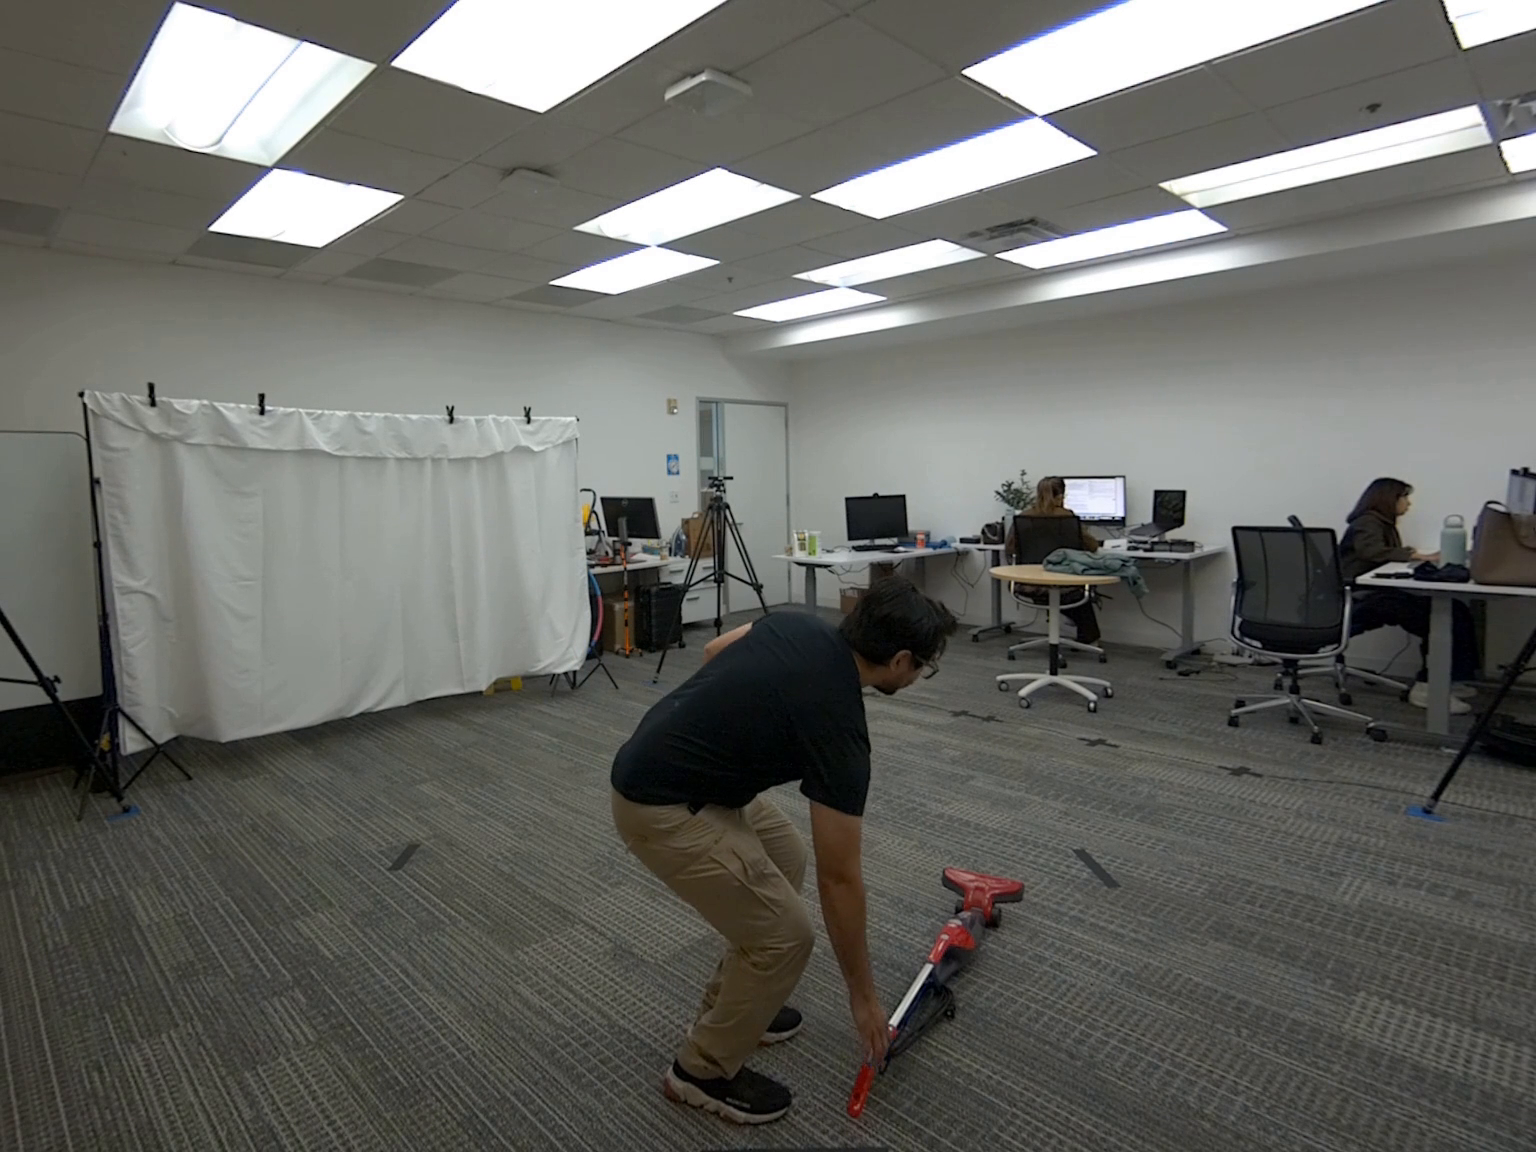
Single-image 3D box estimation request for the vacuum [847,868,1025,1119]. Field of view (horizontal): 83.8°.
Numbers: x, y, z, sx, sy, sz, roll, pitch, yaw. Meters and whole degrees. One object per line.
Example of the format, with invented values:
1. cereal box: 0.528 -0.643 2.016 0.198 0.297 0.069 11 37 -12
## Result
1. vacuum: 0.438 1.070 2.246 0.259 0.143 1.027 2 7 29
